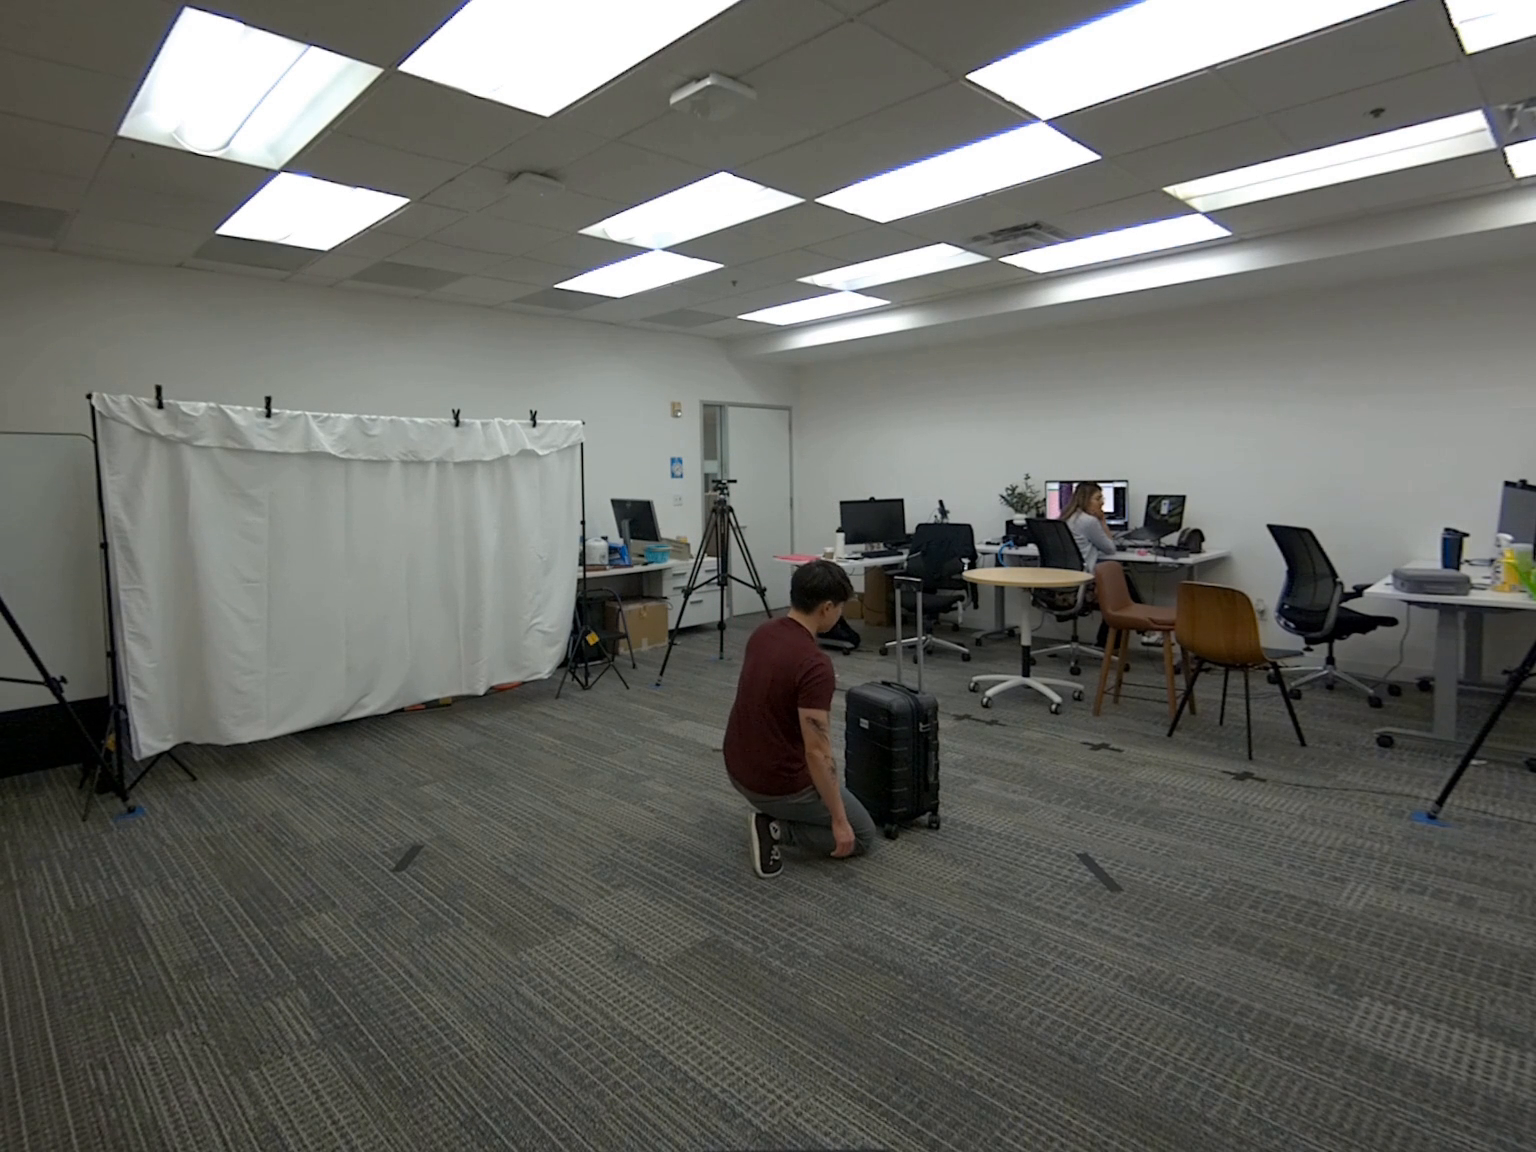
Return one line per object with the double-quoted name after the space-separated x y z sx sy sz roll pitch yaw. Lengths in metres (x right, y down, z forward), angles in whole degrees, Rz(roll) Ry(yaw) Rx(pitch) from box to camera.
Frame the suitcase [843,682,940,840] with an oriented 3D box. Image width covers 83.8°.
0.495 0.511 3.478 0.251 0.977 0.393 -2 2 -27 "suitcase"
